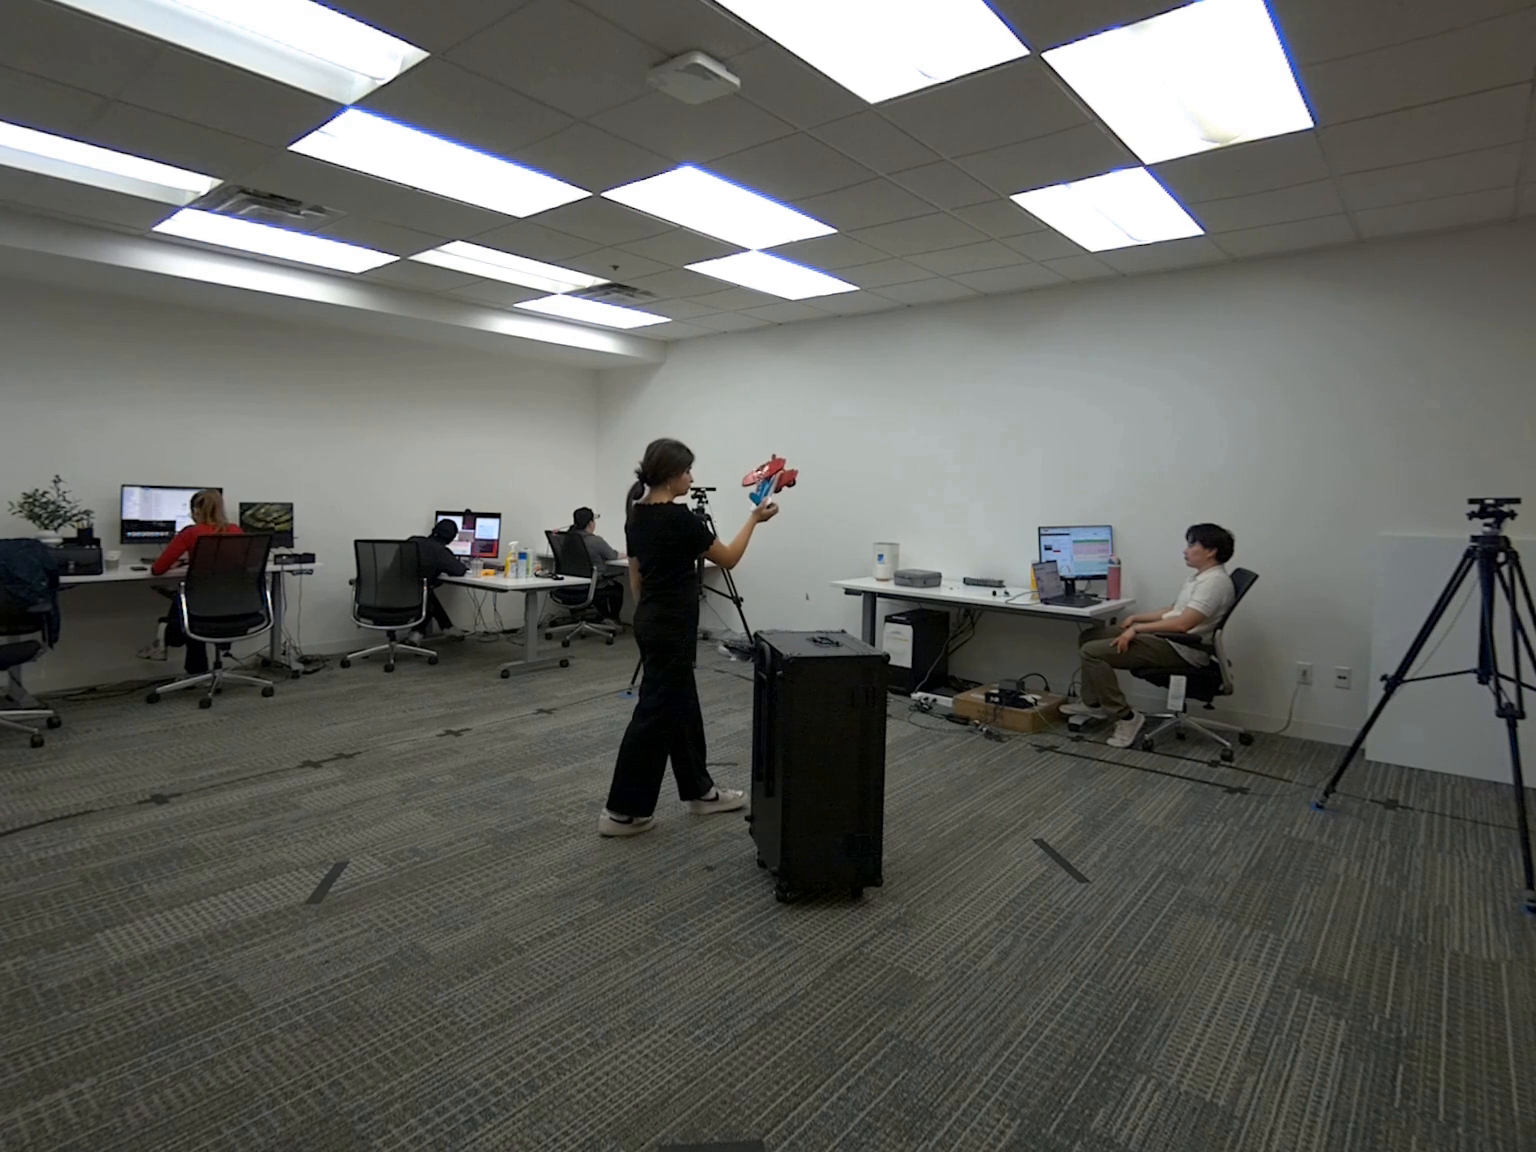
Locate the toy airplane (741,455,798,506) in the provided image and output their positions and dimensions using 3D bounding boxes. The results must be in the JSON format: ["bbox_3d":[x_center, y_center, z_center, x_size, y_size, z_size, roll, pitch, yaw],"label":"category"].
[{"bbox_3d":[0.008,-0.398,3.648,0.252,0.153,0.263,-33,19,17],"label":"toy airplane"}]
